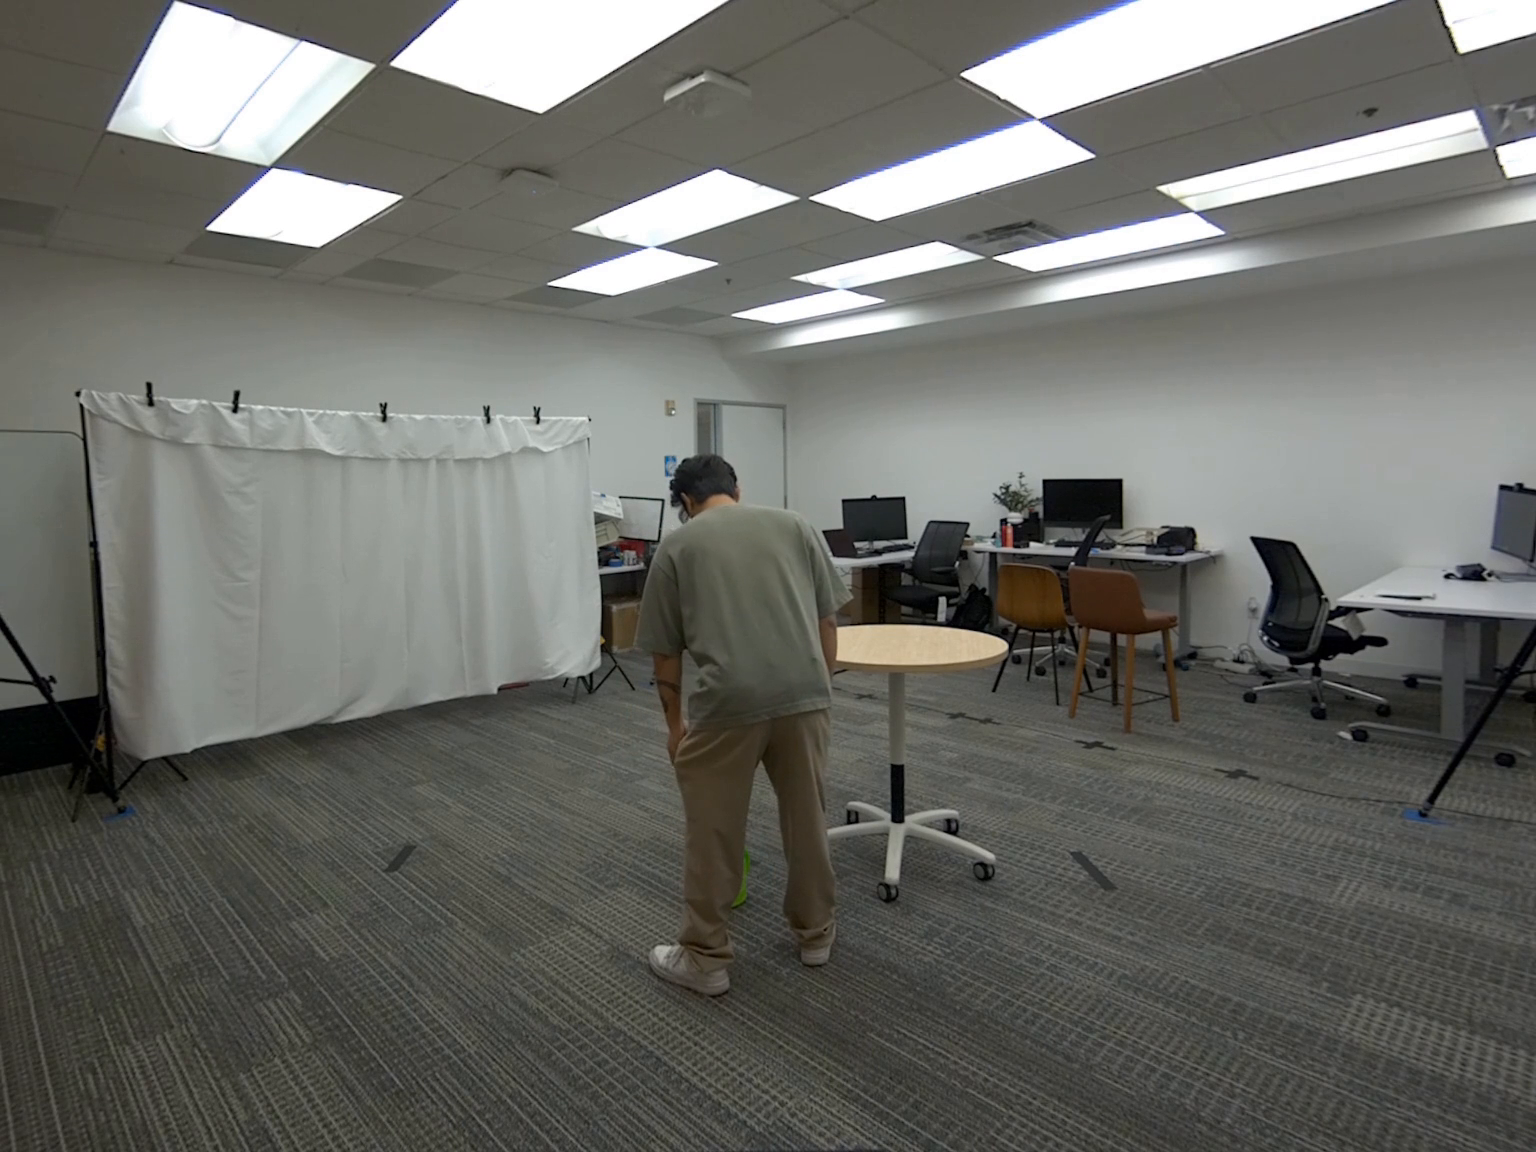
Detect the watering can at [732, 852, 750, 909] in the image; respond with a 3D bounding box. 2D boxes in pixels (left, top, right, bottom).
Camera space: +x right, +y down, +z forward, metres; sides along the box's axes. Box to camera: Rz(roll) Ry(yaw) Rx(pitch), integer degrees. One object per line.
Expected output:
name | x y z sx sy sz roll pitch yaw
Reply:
watering can | -0.149 0.986 2.799 0.271 0.176 0.101 -3 4 -36
